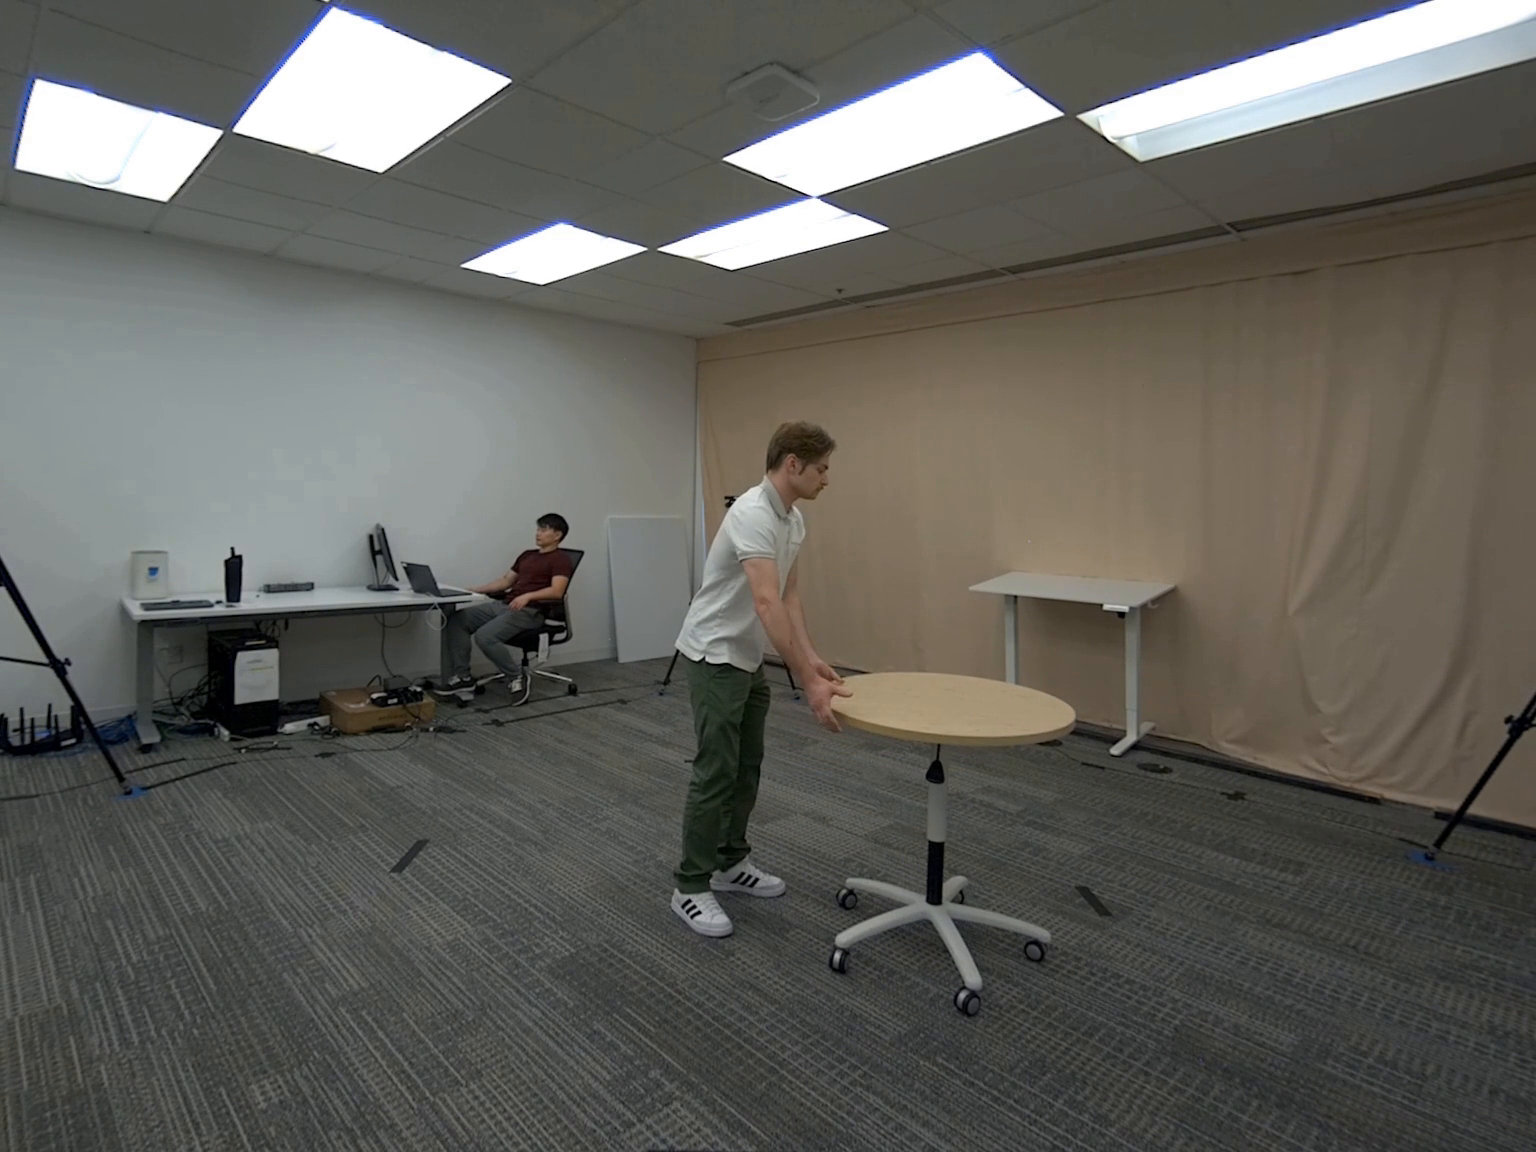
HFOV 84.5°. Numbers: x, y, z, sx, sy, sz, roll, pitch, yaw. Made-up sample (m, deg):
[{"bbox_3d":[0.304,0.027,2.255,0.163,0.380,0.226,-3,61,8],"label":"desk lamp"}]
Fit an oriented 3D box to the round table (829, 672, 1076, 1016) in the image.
[{"bbox_3d":[0.520,0.777,2.615,0.763,0.791,0.767,2,5,-1],"label":"round table"}]
